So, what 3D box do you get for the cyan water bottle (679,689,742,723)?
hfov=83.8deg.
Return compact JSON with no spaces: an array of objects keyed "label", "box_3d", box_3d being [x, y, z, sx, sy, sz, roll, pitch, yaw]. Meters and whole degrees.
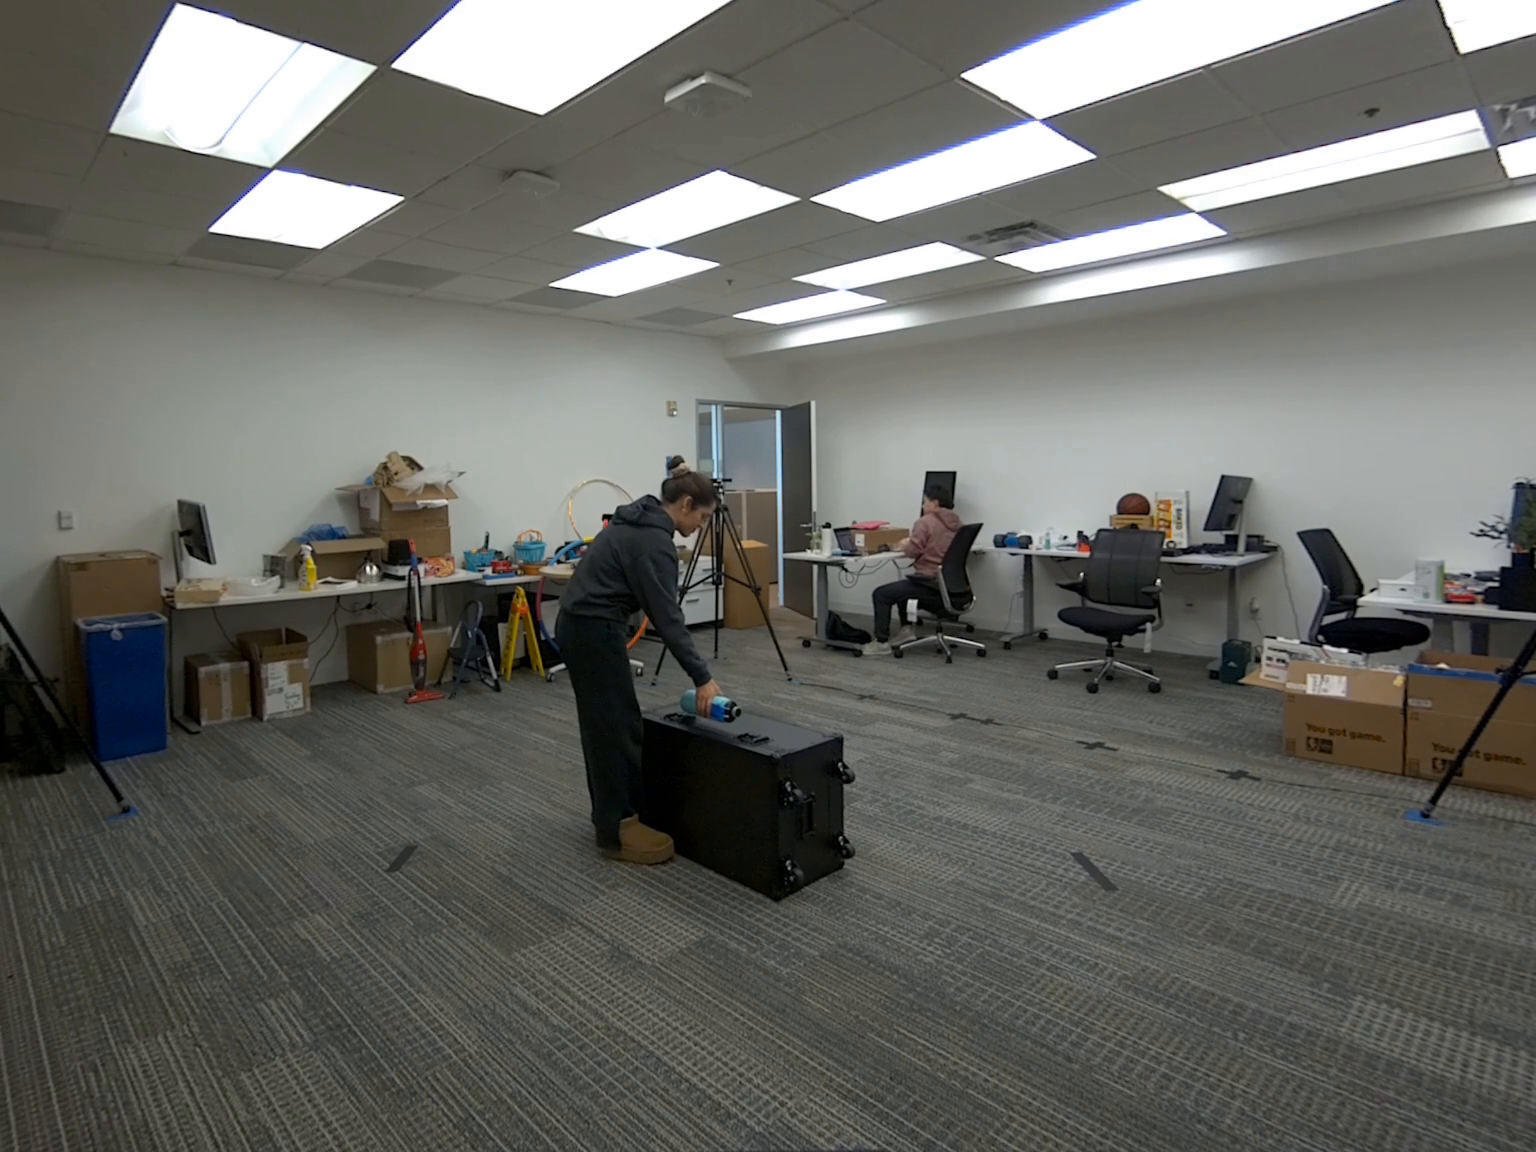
[{"label":"cyan water bottle","box_3d":[-0.207,0.485,3.142,0.090,0.092,0.291,-4,4,-37]}]
